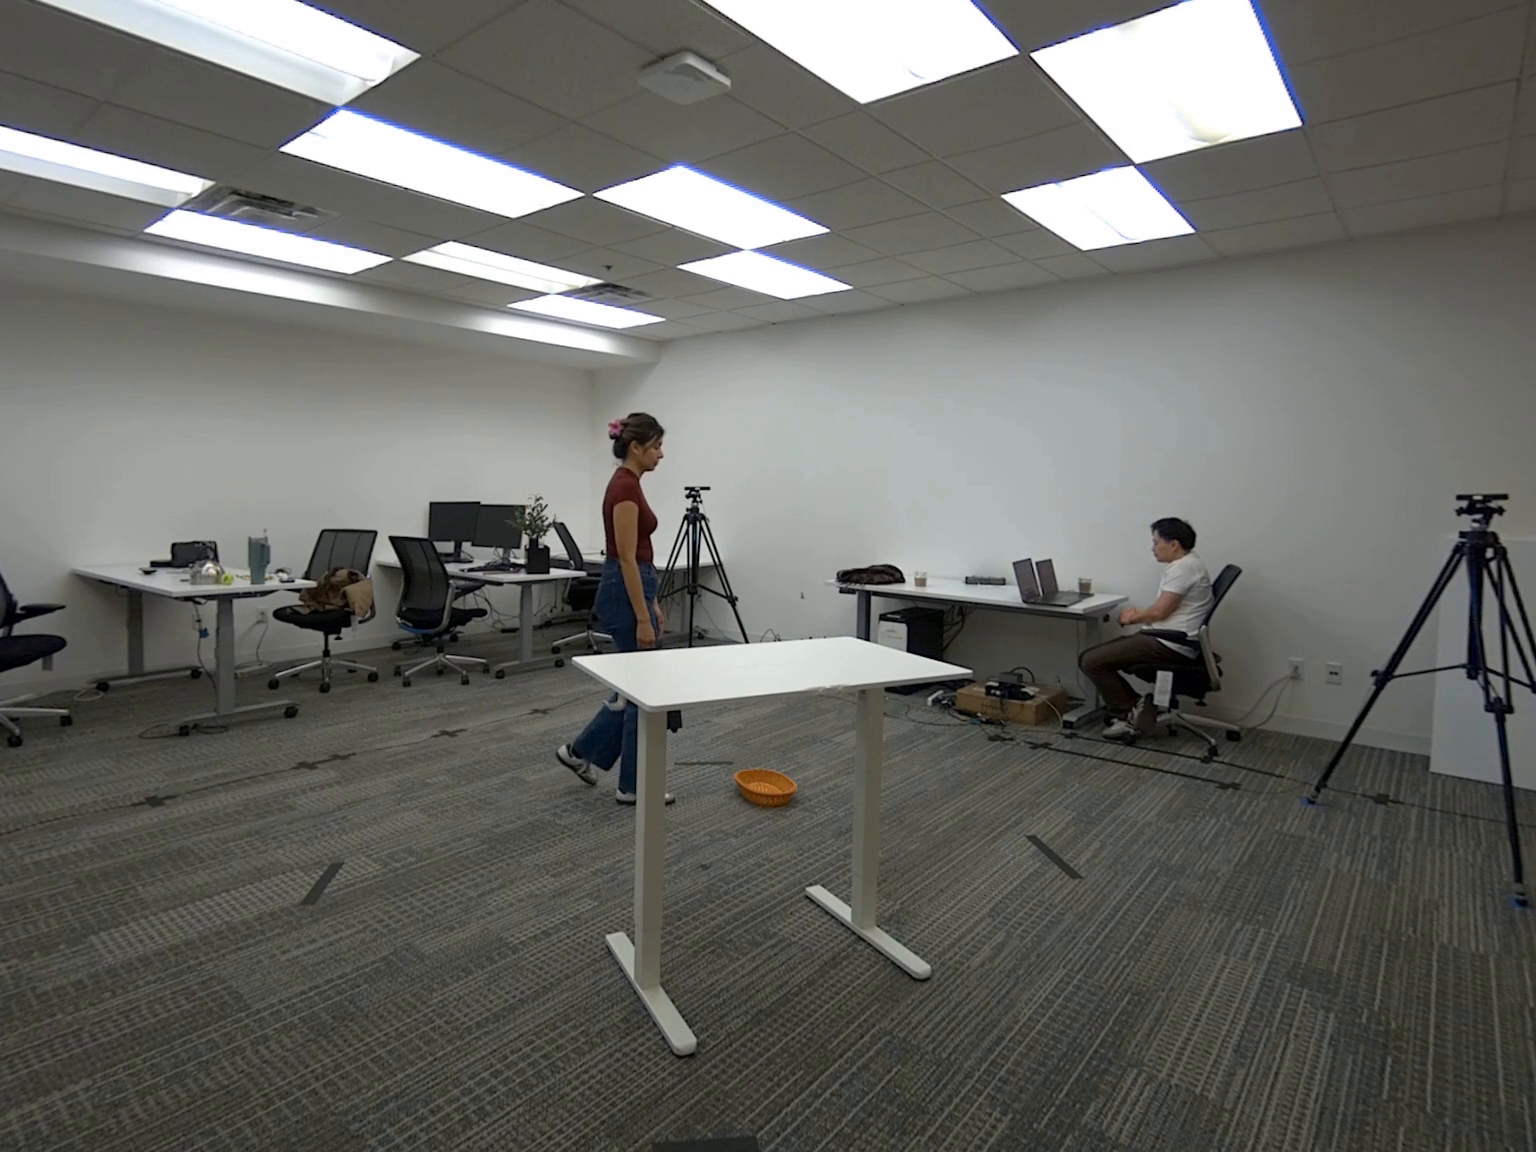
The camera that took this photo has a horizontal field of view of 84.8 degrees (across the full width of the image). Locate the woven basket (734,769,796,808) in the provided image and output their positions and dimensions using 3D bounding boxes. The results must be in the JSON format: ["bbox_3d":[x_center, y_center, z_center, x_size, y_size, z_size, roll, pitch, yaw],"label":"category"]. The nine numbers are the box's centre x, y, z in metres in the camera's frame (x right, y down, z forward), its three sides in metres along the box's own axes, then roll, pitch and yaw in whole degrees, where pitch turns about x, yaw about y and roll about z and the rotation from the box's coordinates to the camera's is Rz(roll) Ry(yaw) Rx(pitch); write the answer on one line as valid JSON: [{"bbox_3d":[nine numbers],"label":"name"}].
[{"bbox_3d":[-0.026,0.956,3.852,0.246,0.073,0.360,-1,6,-25],"label":"woven basket"}]
